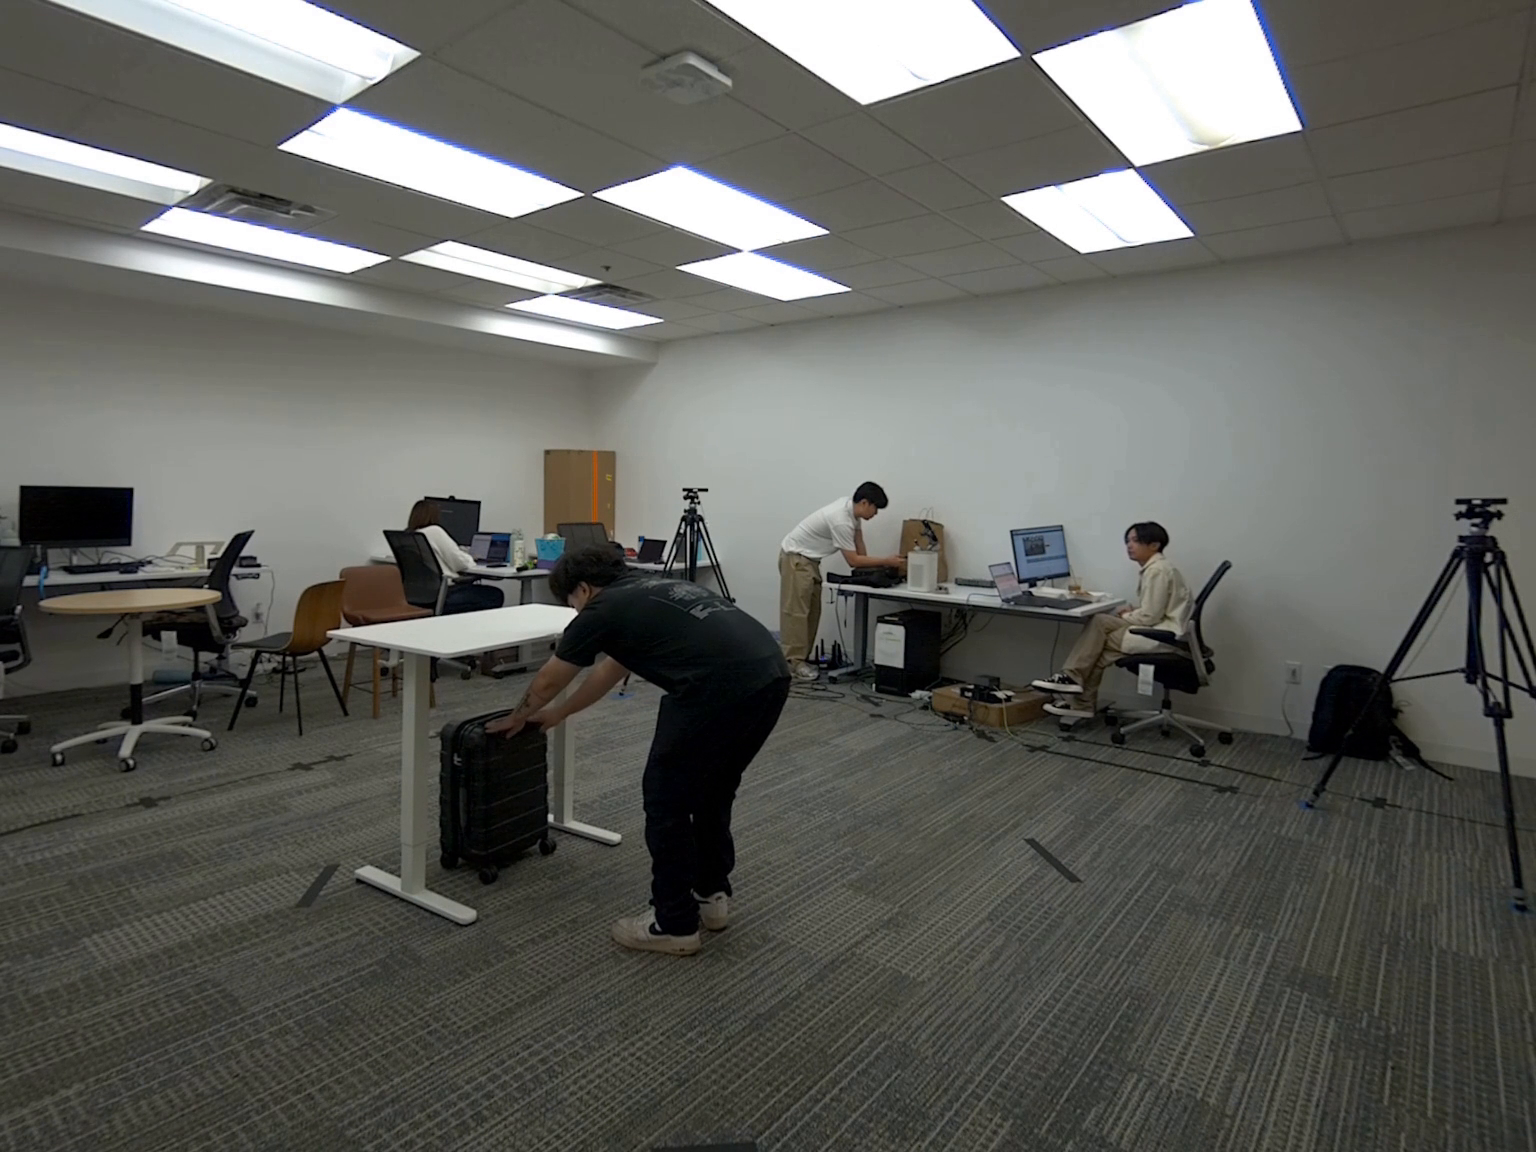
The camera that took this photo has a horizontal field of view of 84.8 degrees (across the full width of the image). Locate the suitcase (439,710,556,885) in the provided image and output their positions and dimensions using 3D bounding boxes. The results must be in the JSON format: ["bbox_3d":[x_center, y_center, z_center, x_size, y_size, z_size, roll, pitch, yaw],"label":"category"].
[{"bbox_3d":[-1.028,0.788,3.155,0.255,0.549,0.365,-2,1,31],"label":"suitcase"}]
